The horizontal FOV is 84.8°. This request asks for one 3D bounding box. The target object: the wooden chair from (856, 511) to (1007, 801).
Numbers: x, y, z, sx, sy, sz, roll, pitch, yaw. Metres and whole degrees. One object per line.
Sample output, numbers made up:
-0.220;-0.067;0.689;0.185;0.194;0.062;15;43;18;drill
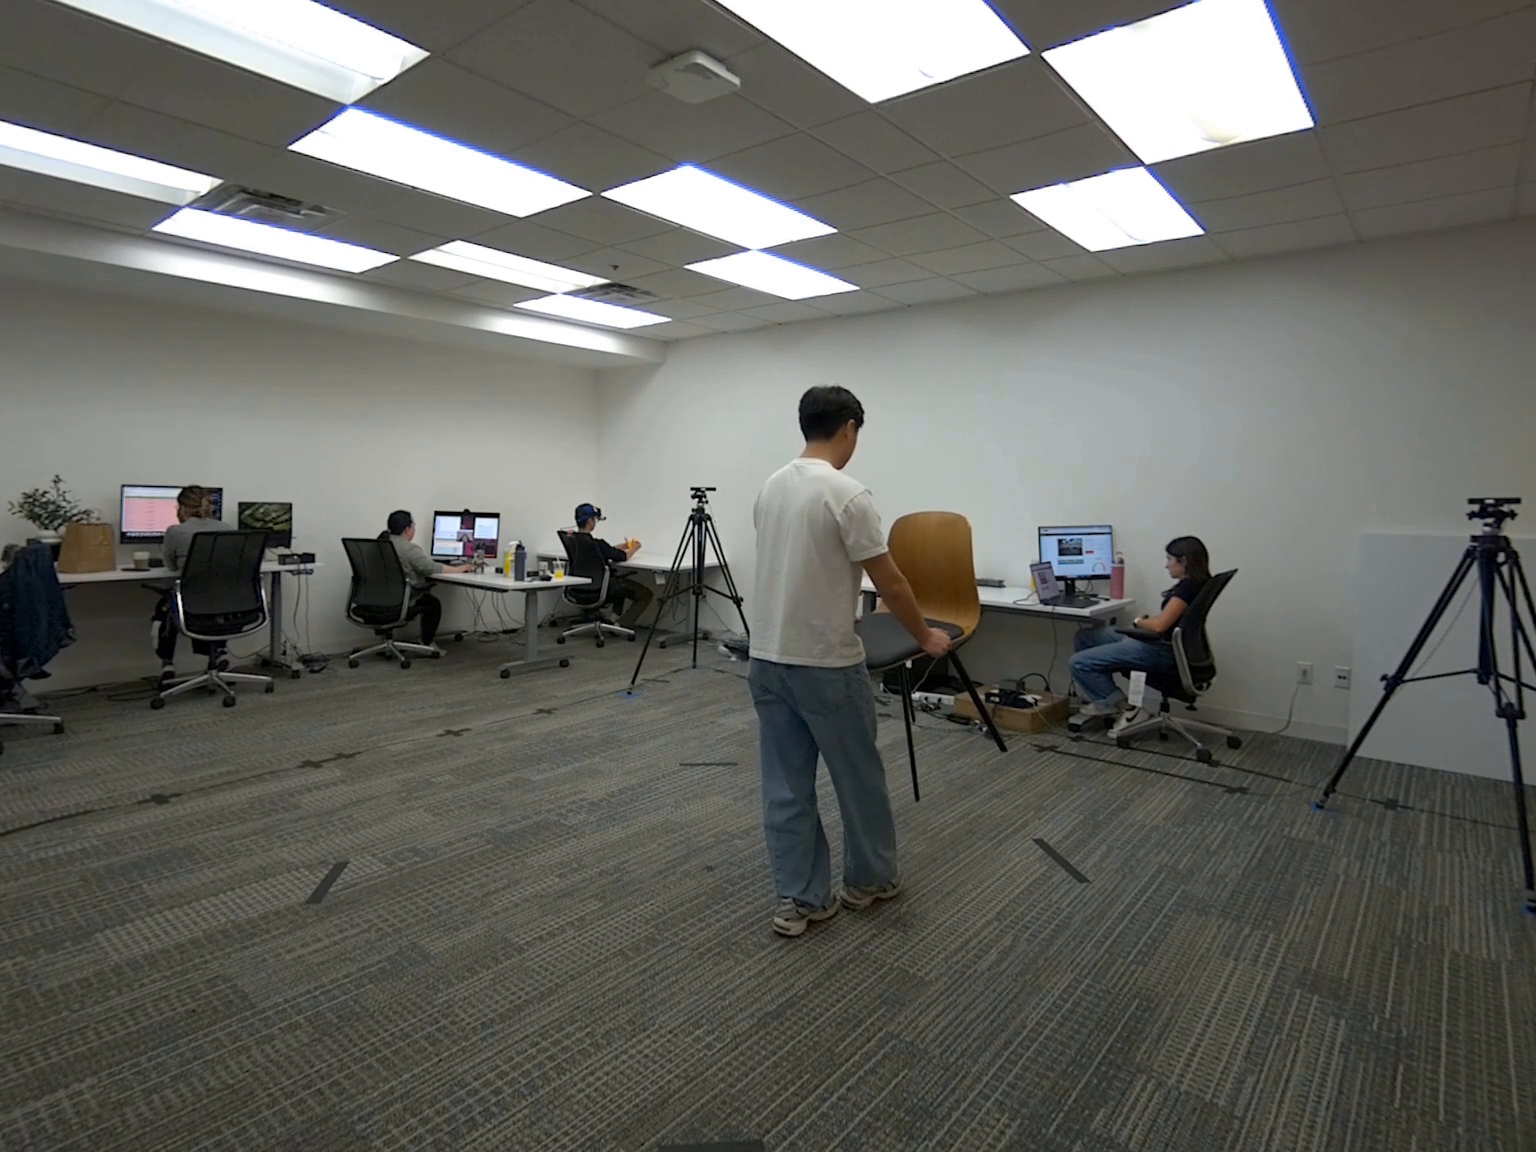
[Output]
0.445;0.244;2.980;0.511;0.869;0.494;-12;11;-34;wooden chair
